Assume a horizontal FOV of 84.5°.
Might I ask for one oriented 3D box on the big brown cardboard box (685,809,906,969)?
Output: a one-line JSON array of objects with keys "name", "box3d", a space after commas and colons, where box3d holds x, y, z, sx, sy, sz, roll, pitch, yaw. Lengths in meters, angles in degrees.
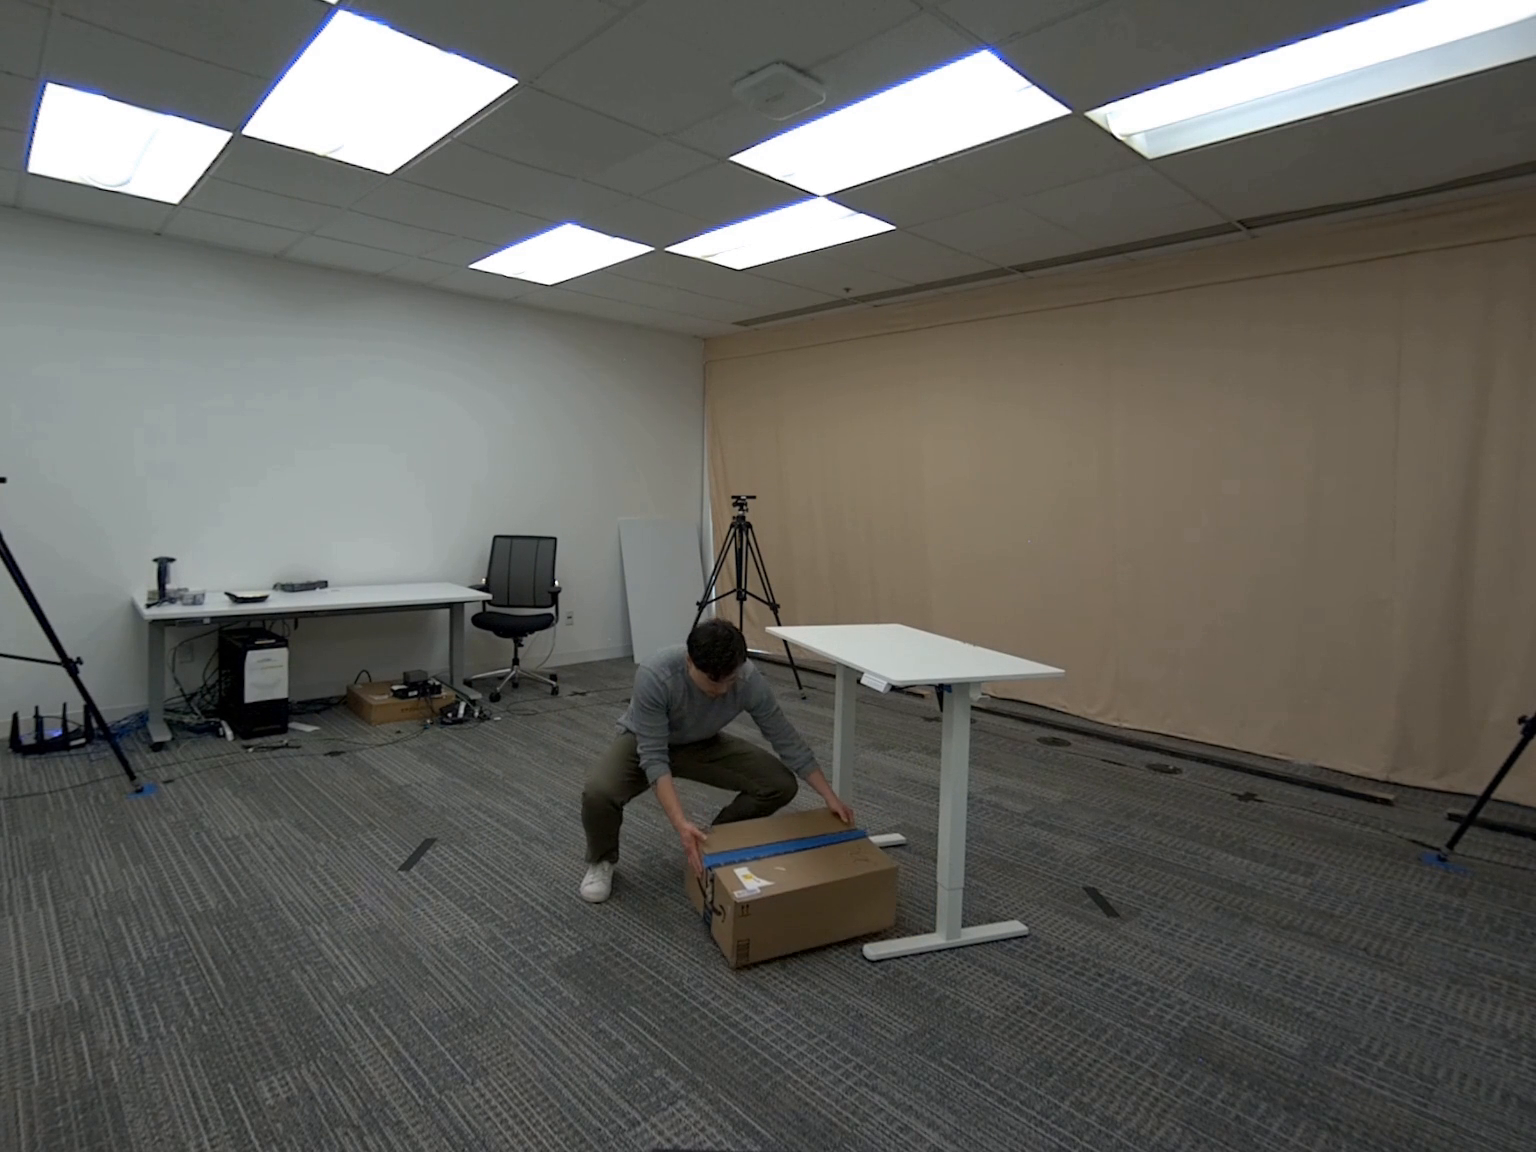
[{"name": "big brown cardboard box", "box3d": [0.050, 0.976, 2.709, 0.579, 0.231, 0.428, -2, 12, -24]}]
